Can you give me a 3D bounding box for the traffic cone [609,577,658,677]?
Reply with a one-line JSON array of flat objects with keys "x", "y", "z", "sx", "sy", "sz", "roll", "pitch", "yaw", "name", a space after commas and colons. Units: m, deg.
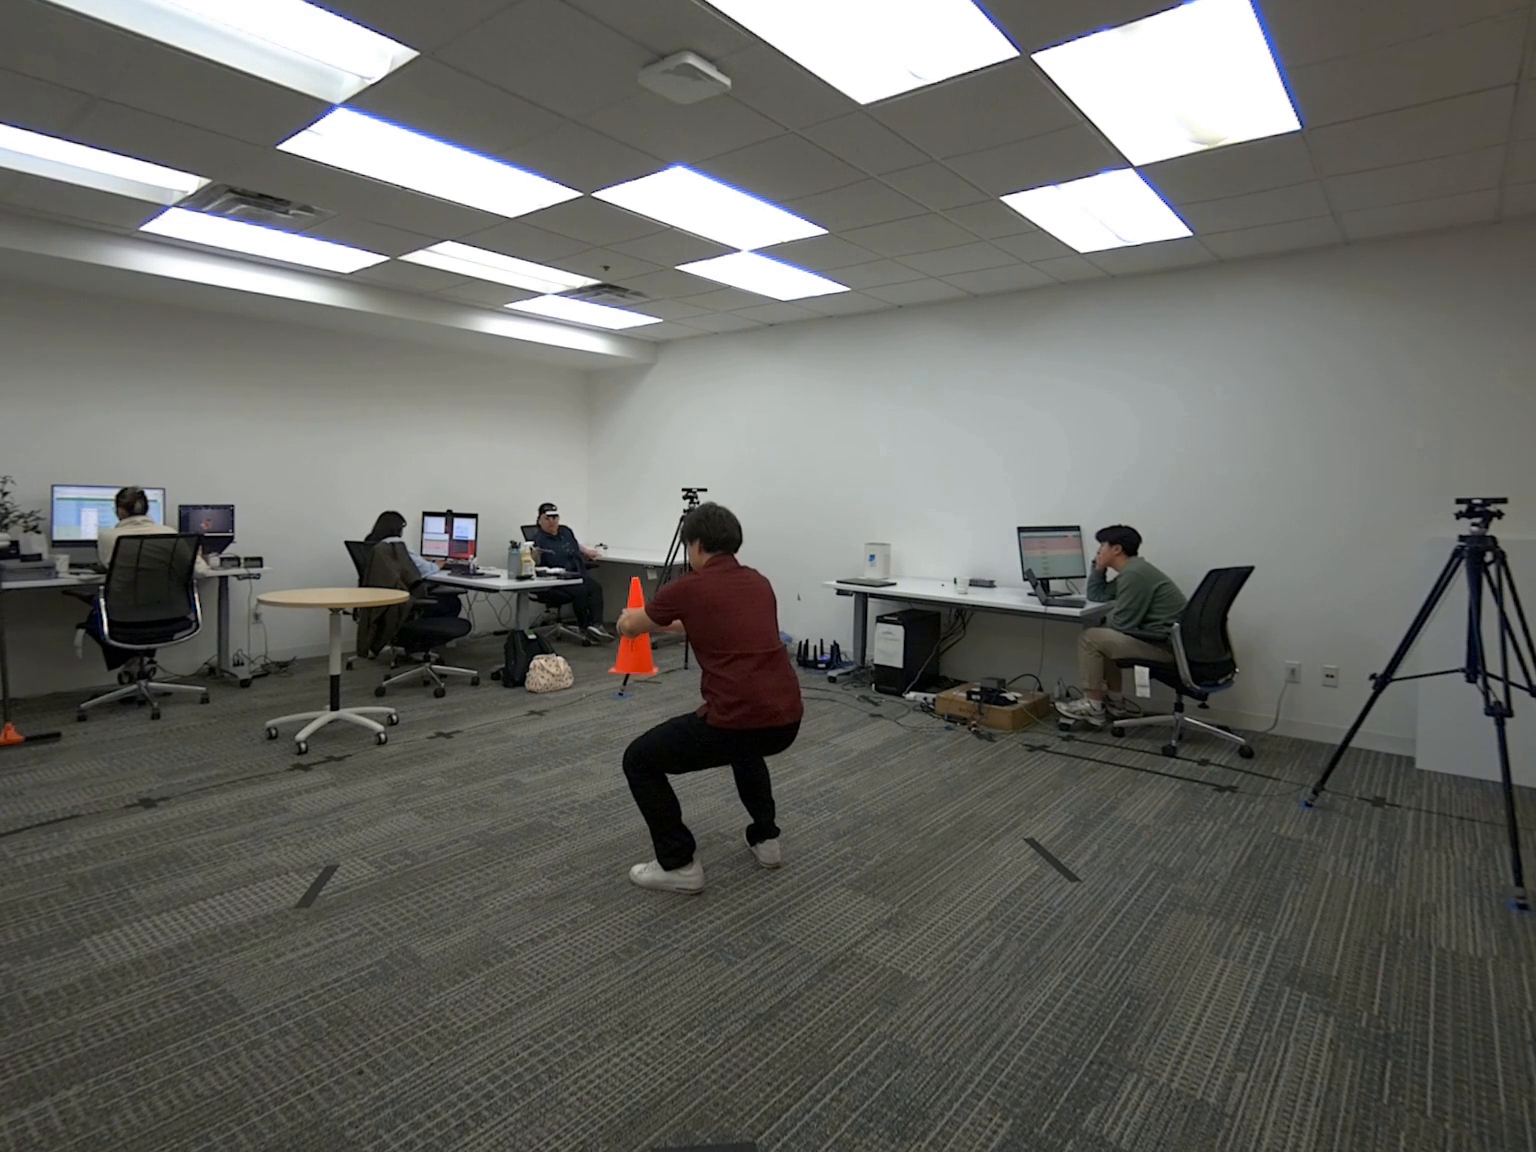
[{"x": -0.560, "y": 0.198, "z": 3.507, "sx": 0.203, "sy": 0.384, "sz": 0.205, "roll": 2, "pitch": 0, "yaw": -2, "name": "traffic cone"}]
